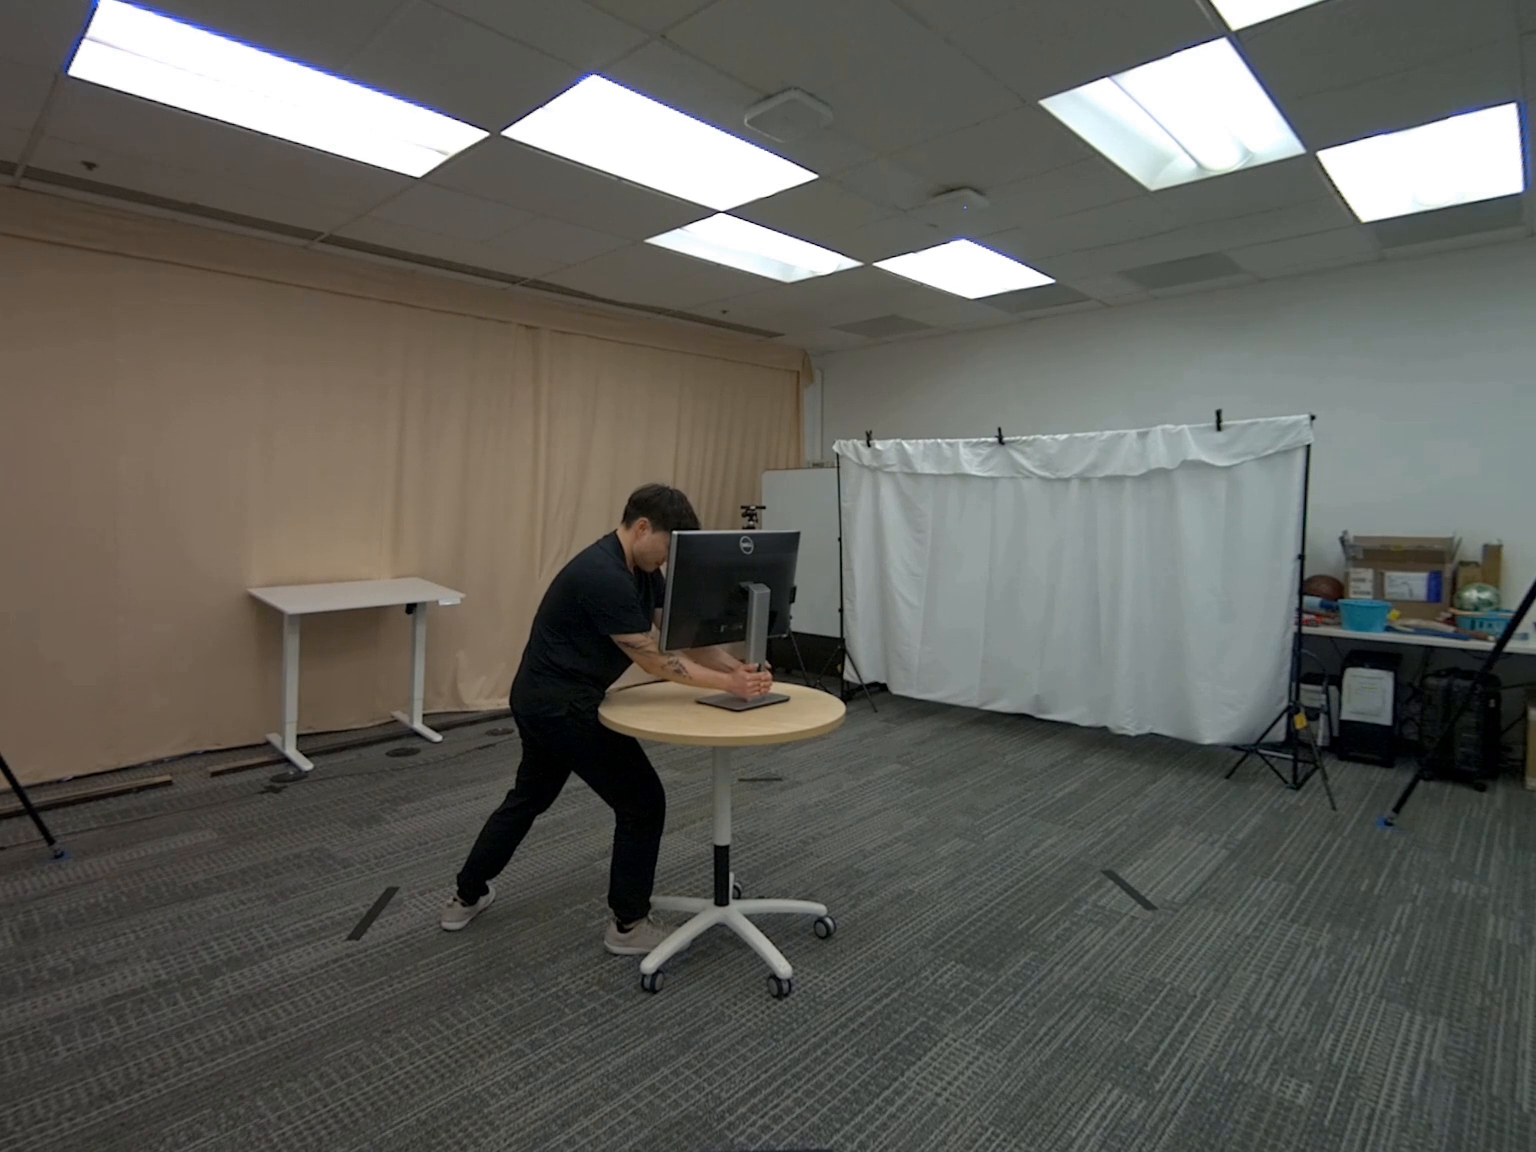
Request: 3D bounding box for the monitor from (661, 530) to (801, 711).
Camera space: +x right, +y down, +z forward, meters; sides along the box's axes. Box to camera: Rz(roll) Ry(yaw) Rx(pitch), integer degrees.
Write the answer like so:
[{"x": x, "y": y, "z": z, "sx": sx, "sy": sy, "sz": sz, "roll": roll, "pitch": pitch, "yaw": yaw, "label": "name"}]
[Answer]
[{"x": -0.074, "y": 0.133, "z": 2.638, "sx": 0.193, "sy": 0.522, "sz": 0.523, "roll": 1, "pitch": 3, "yaw": 42, "label": "monitor"}]
